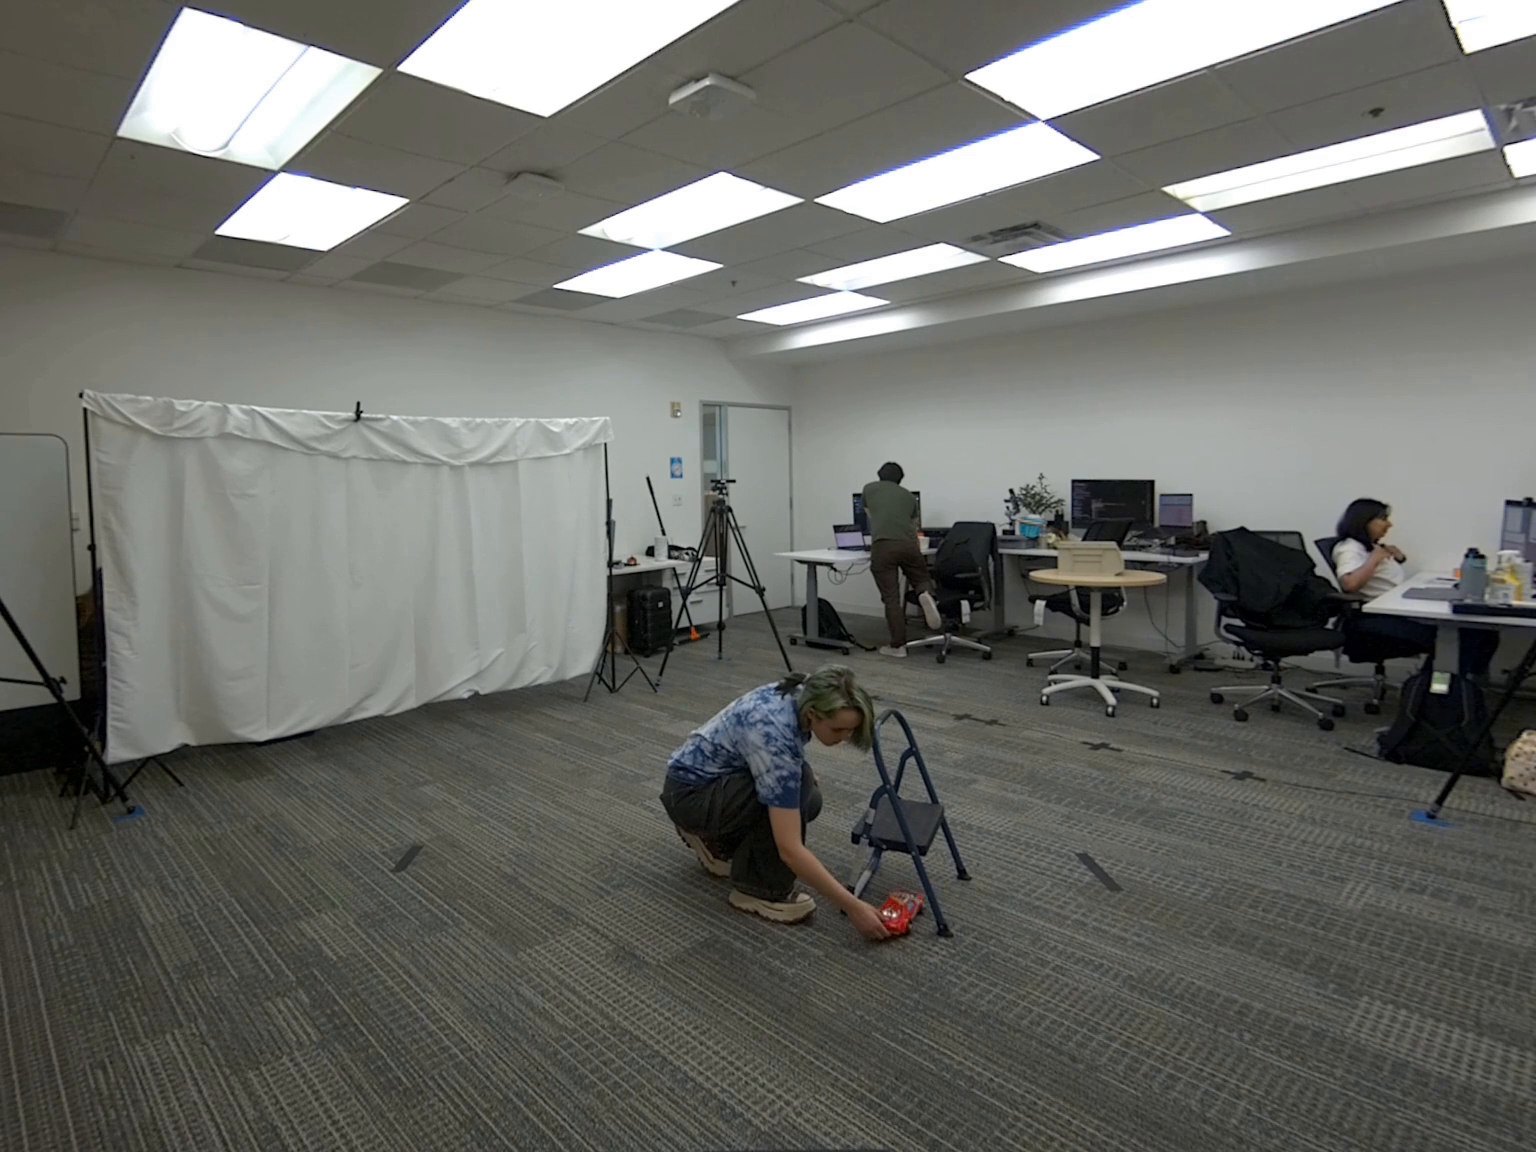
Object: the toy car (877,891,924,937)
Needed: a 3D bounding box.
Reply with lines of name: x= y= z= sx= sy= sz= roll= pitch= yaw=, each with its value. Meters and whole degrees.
toy car: x=0.410 y=1.058 z=2.668 sx=0.134 sy=0.083 sz=0.247 roll=4 pitch=-3 yaw=29
